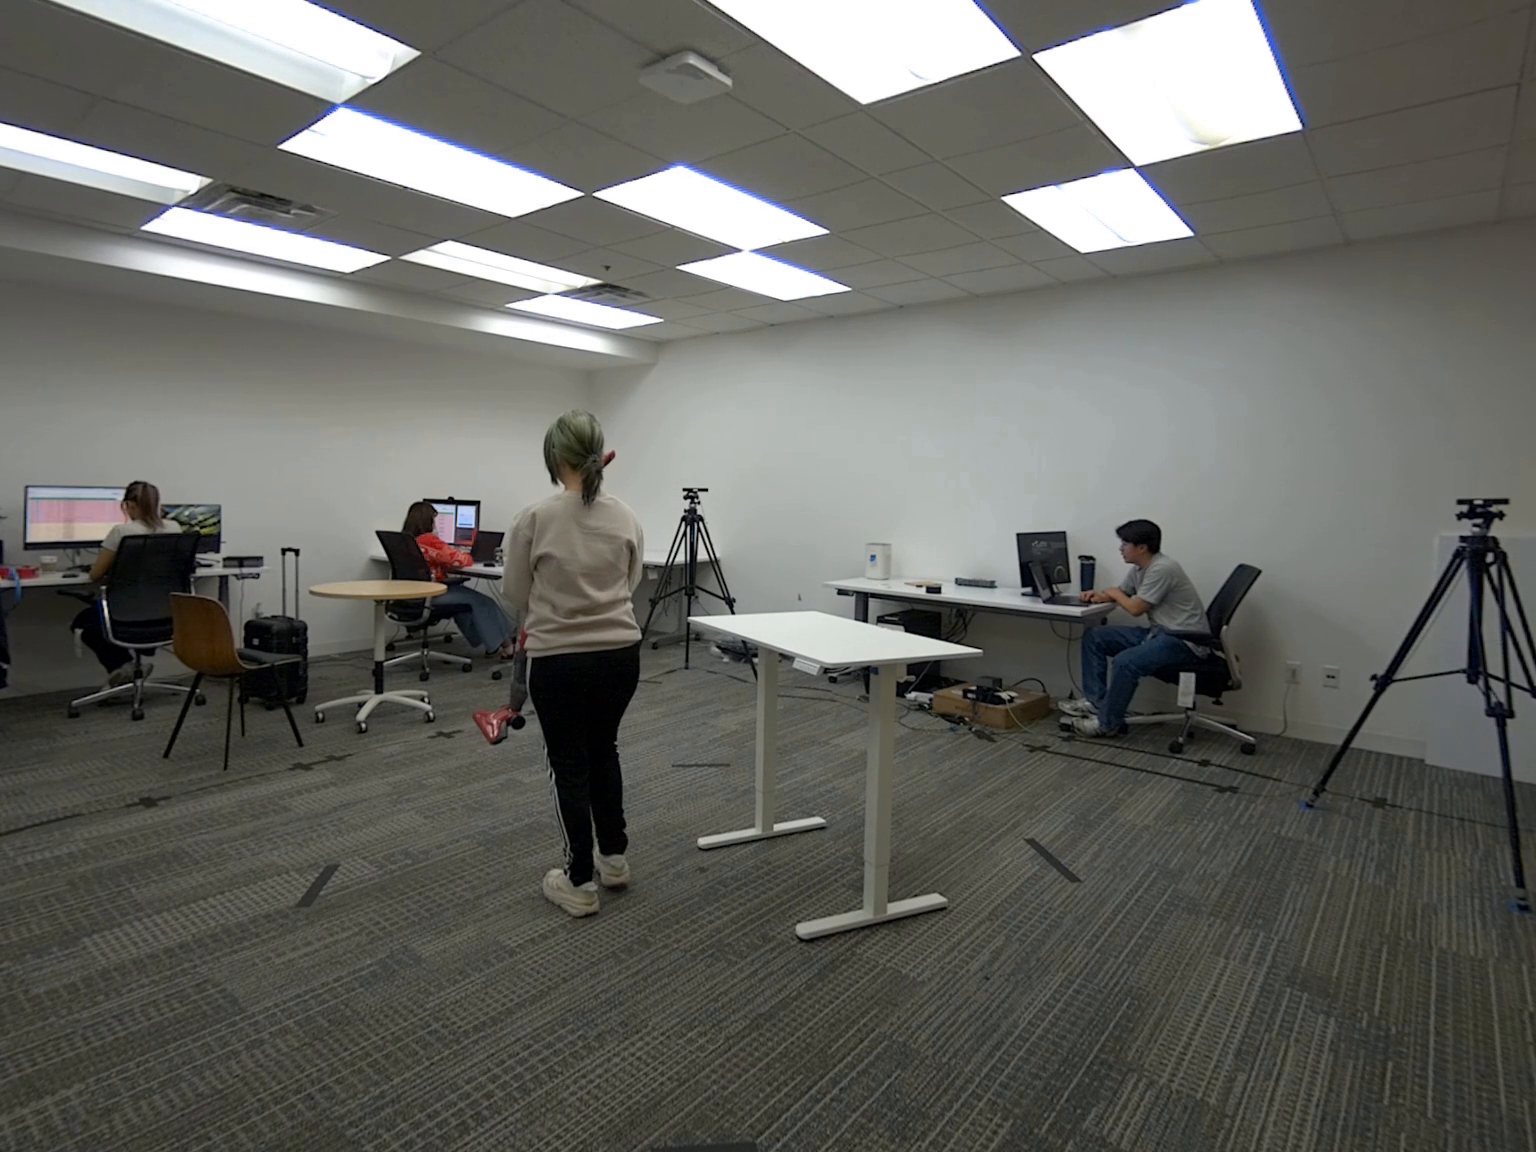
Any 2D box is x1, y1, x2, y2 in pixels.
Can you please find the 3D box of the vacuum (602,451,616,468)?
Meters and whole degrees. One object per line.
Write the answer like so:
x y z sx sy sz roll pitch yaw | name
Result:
-0.772 0.047 3.048 0.138 1.051 0.262 24 -3 -42 | vacuum
